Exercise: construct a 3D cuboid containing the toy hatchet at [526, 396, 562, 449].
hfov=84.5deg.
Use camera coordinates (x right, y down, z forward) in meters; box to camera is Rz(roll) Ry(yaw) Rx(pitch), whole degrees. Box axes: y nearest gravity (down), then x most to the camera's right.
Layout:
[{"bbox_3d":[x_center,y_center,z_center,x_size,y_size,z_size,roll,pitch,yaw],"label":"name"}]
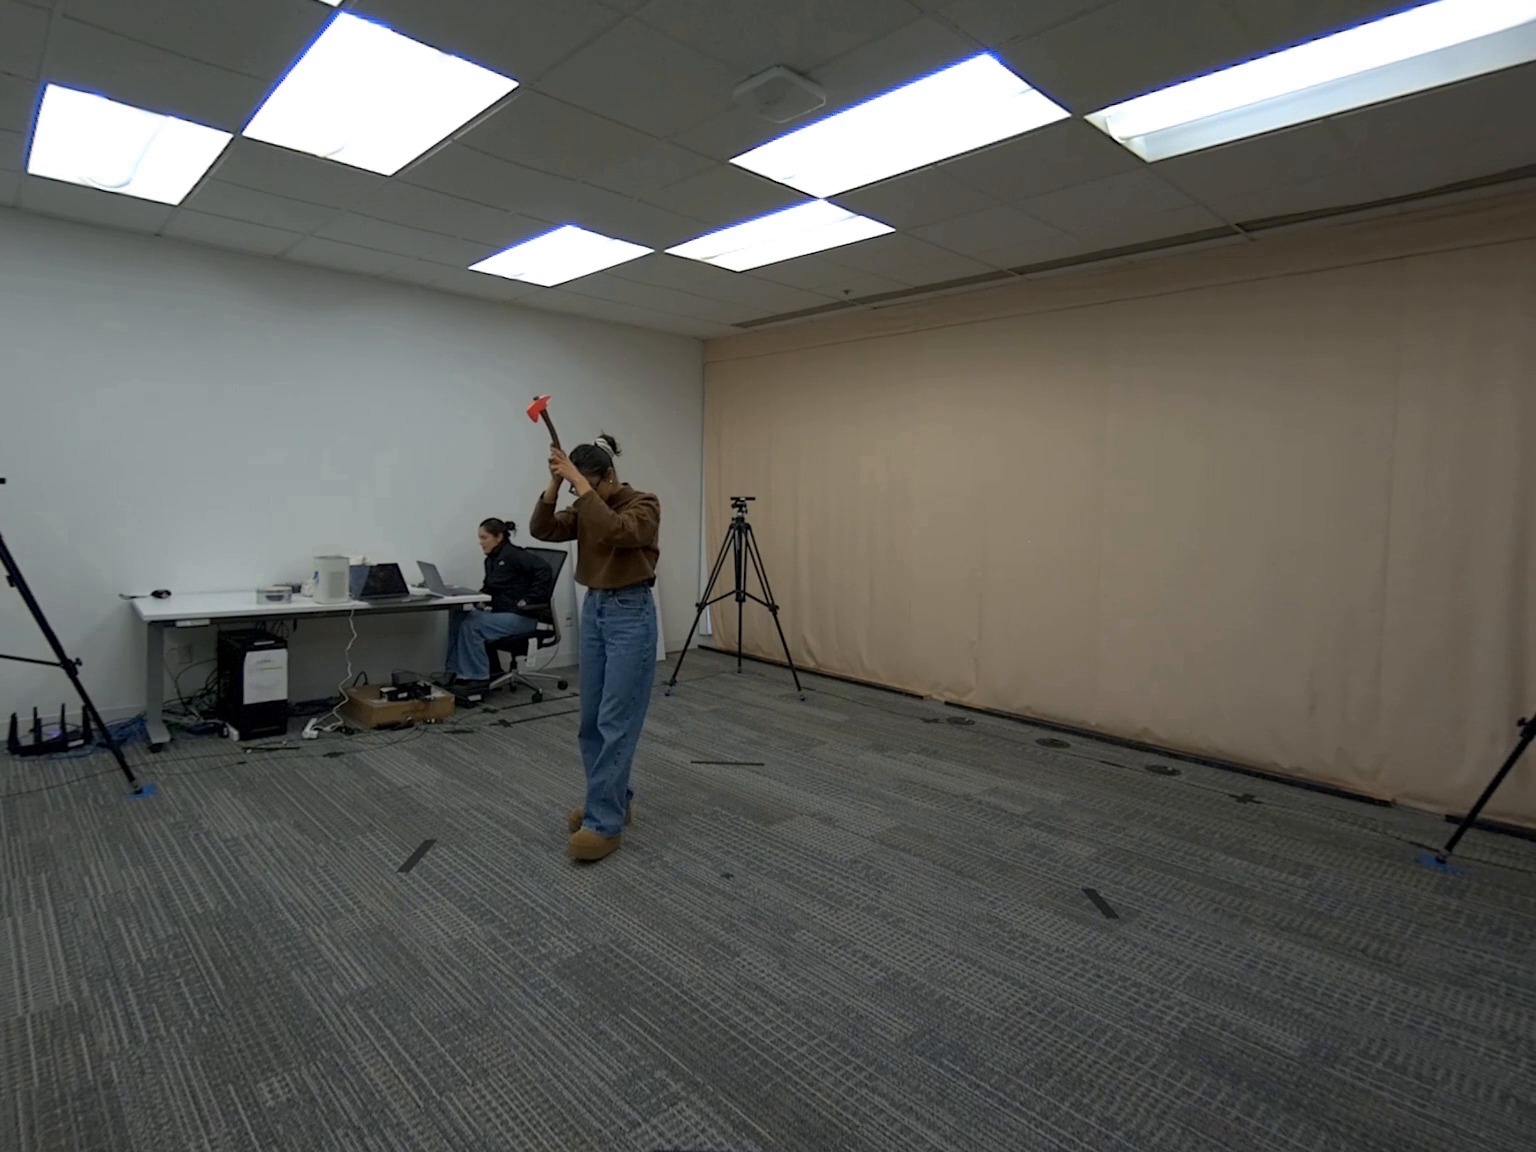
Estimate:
[{"bbox_3d":[-0.849,-0.550,3.165,0.030,0.267,0.130,0,17,31],"label":"toy hatchet"}]
